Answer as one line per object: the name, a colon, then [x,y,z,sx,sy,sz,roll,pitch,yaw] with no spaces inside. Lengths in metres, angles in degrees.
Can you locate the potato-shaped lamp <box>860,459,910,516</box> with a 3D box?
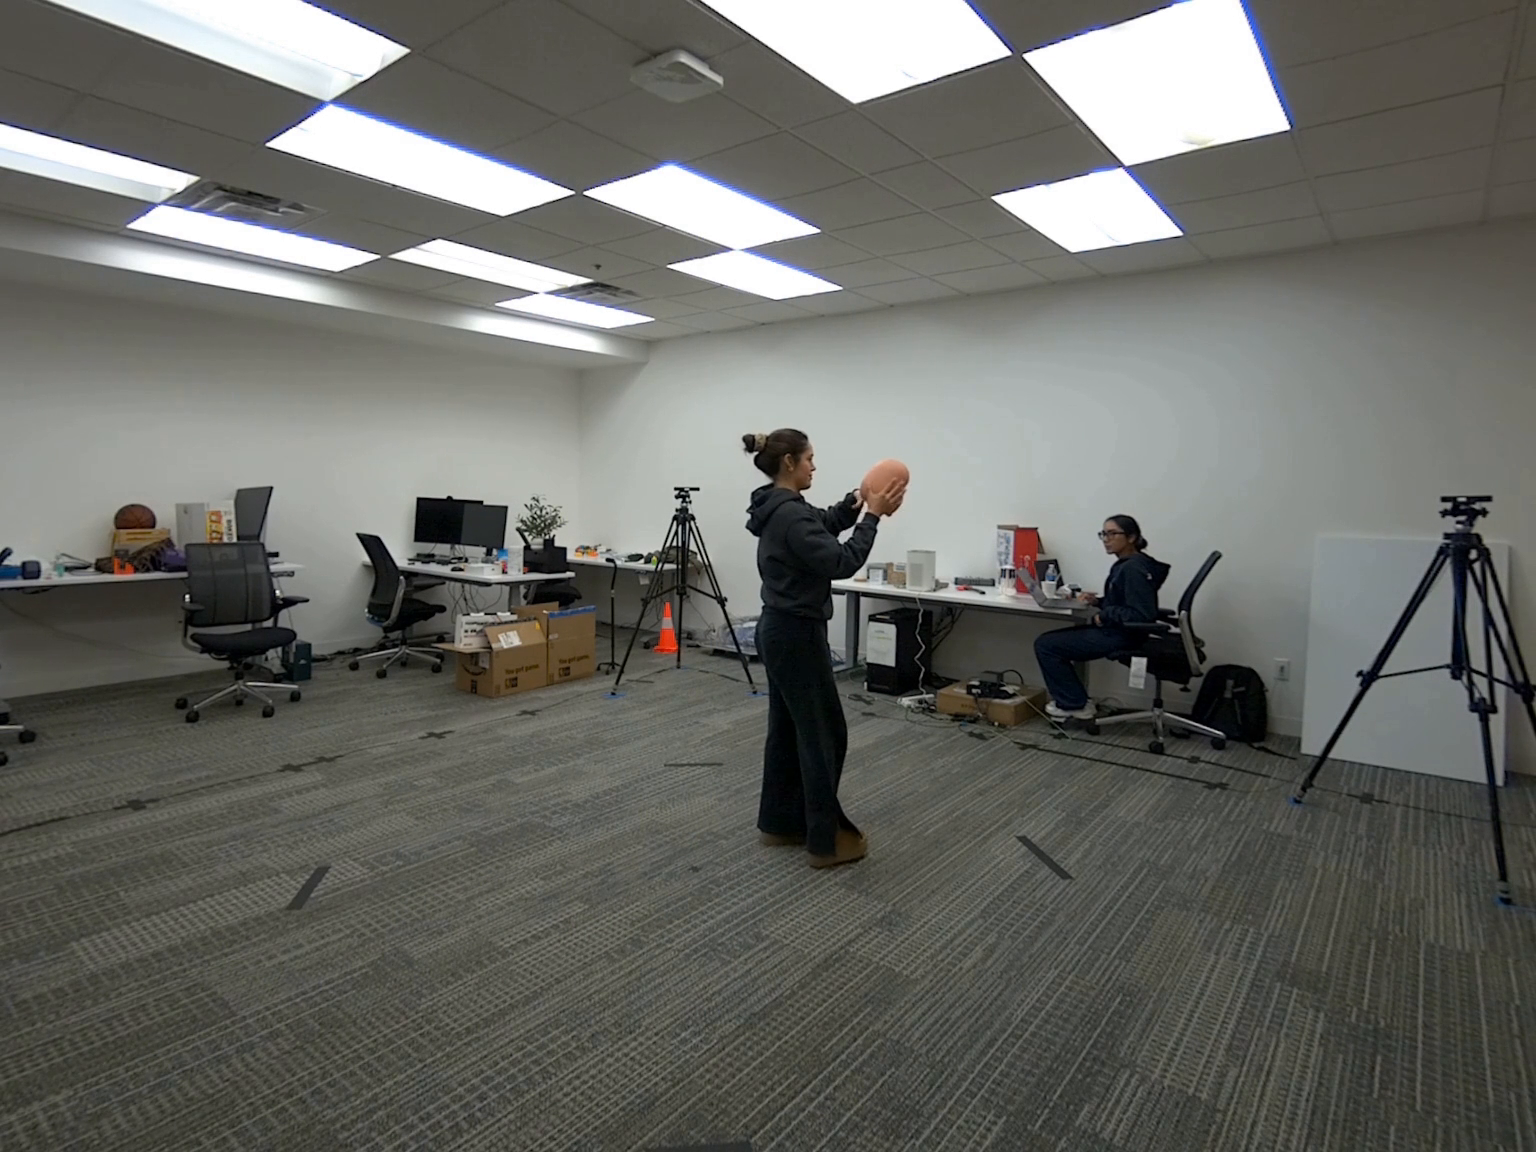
potato-shaped lamp: [0.444,-0.350,3.215,0.171,0.198,0.165,39,1,-3]
